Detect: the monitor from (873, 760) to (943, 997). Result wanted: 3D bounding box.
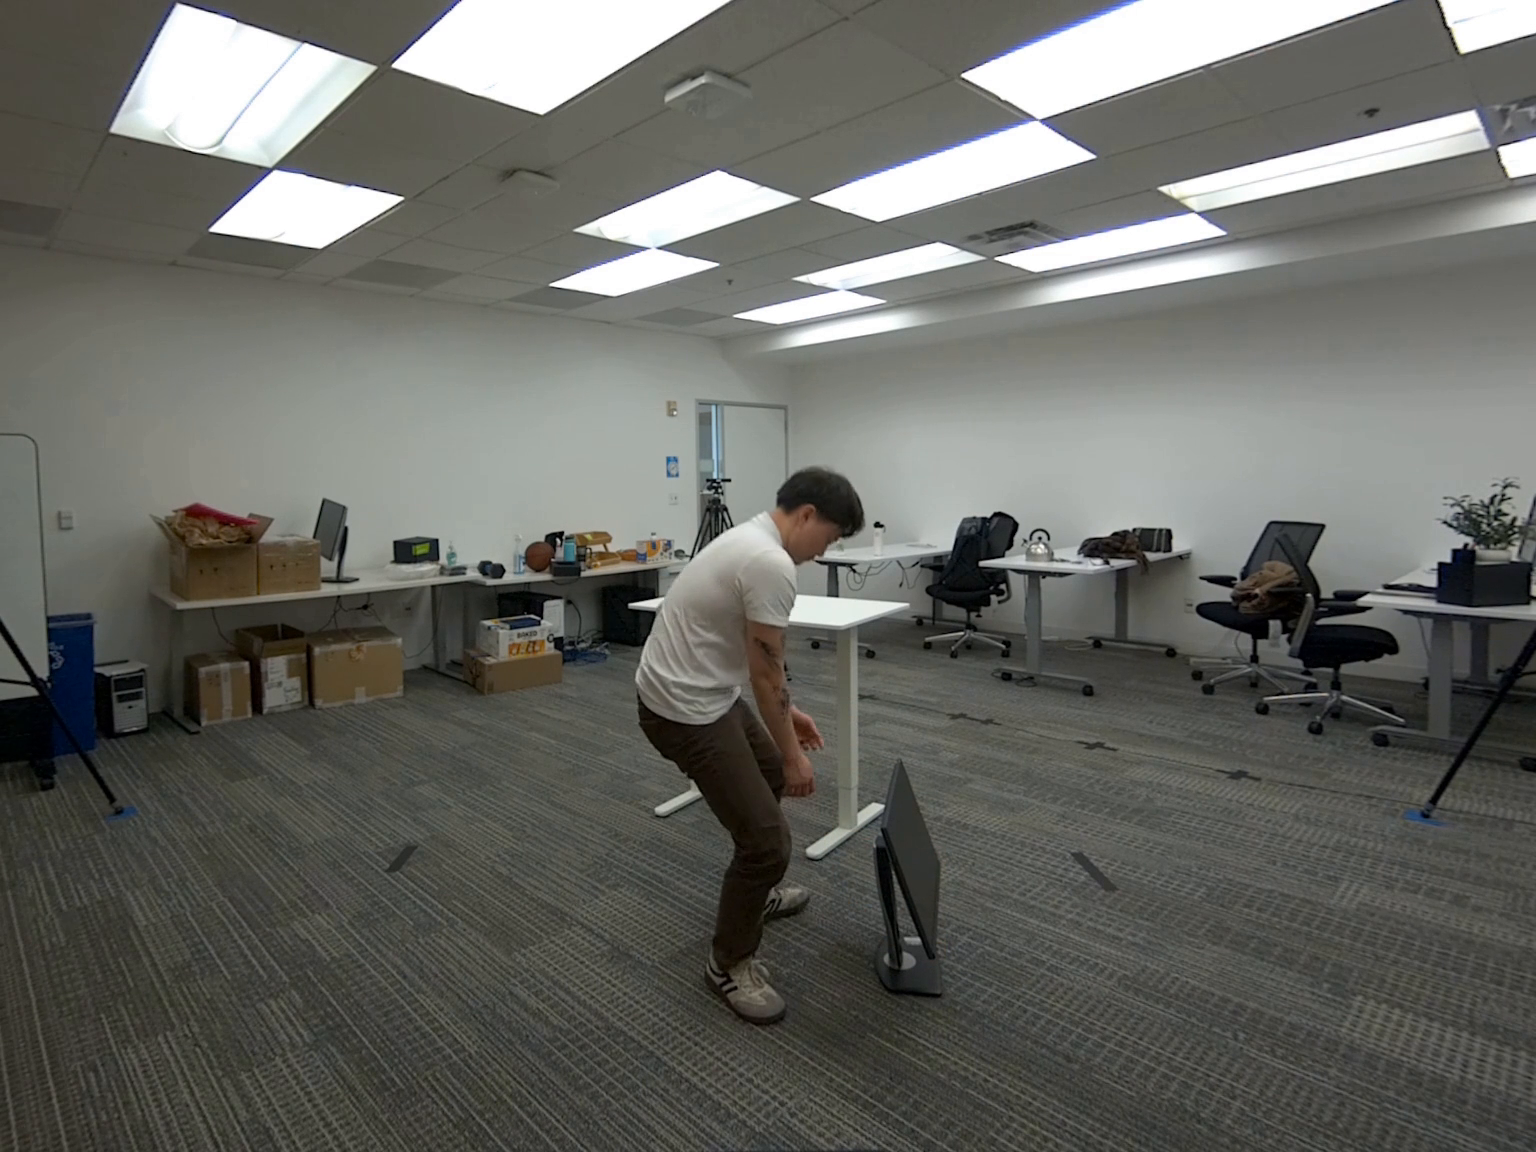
[{"bbox_3d":[0.385,0.858,2.416,0.189,0.520,0.536,-3,6,10],"label":"monitor"}]
